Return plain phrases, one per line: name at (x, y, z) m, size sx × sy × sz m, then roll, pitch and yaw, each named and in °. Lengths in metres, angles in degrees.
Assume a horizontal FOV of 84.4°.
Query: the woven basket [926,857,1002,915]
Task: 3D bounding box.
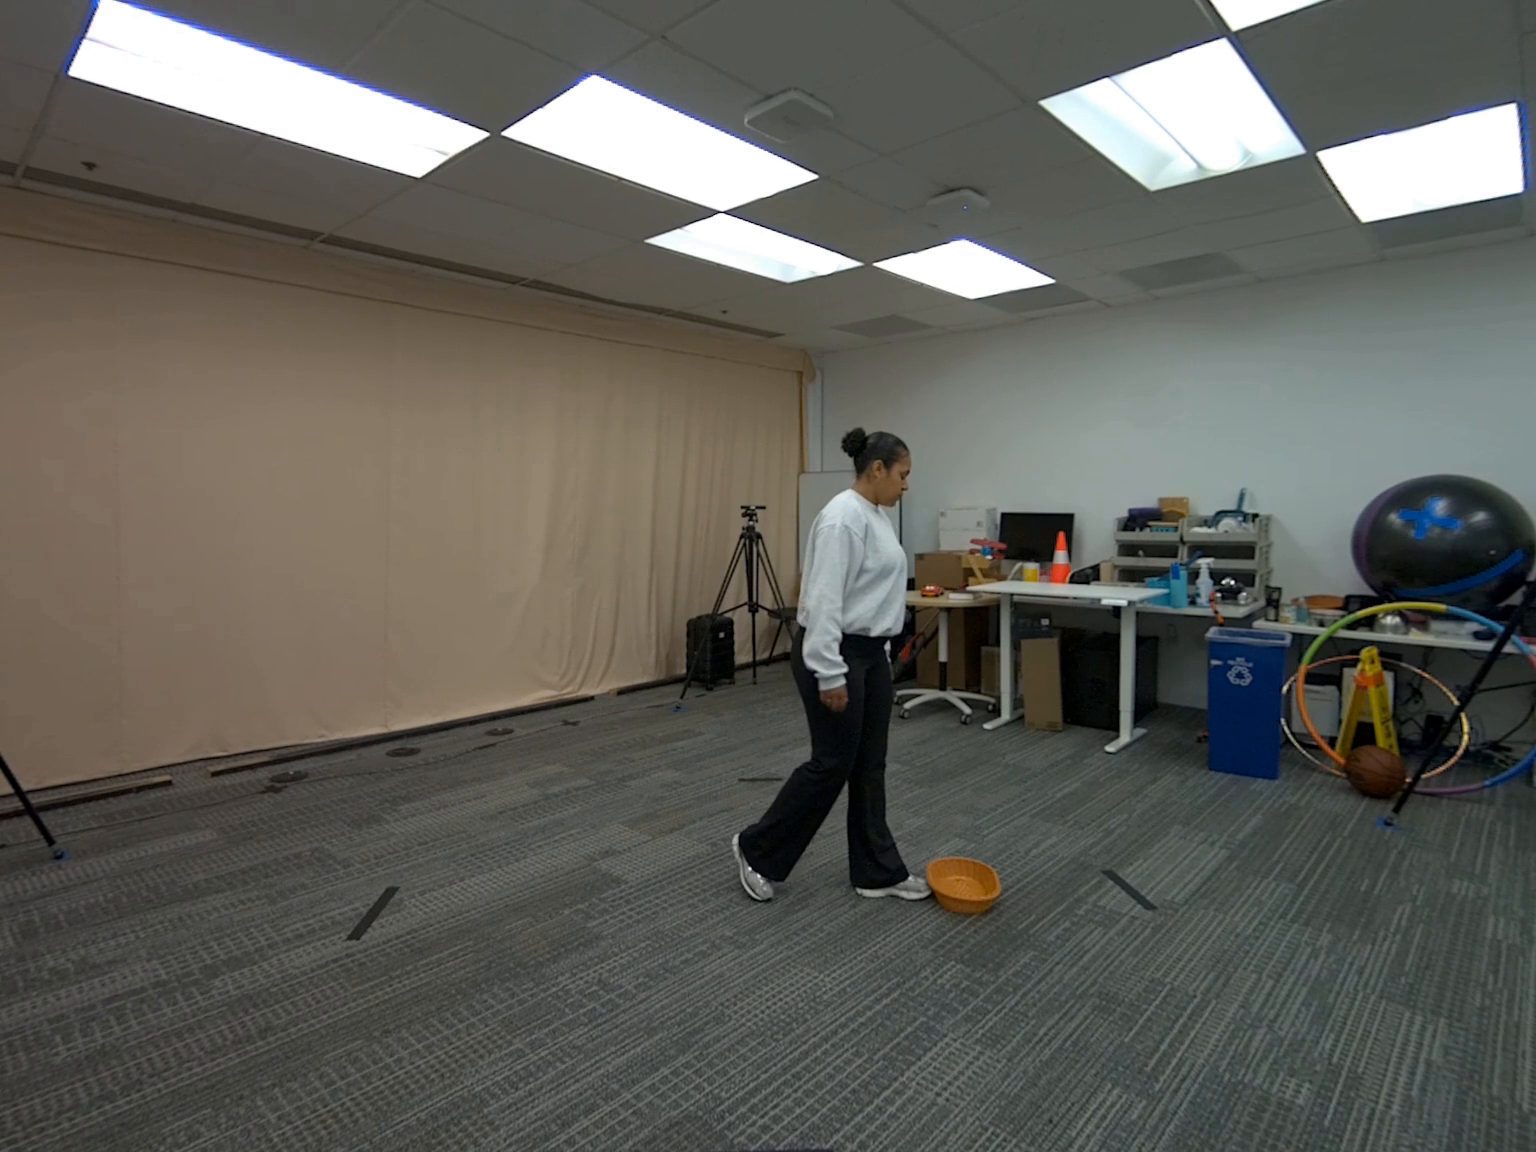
woven basket at (0.694, 1.105, 2.991) m, size 0.256 × 0.073 × 0.346 m, roll 1°, pitch 5°, yaw 12°
